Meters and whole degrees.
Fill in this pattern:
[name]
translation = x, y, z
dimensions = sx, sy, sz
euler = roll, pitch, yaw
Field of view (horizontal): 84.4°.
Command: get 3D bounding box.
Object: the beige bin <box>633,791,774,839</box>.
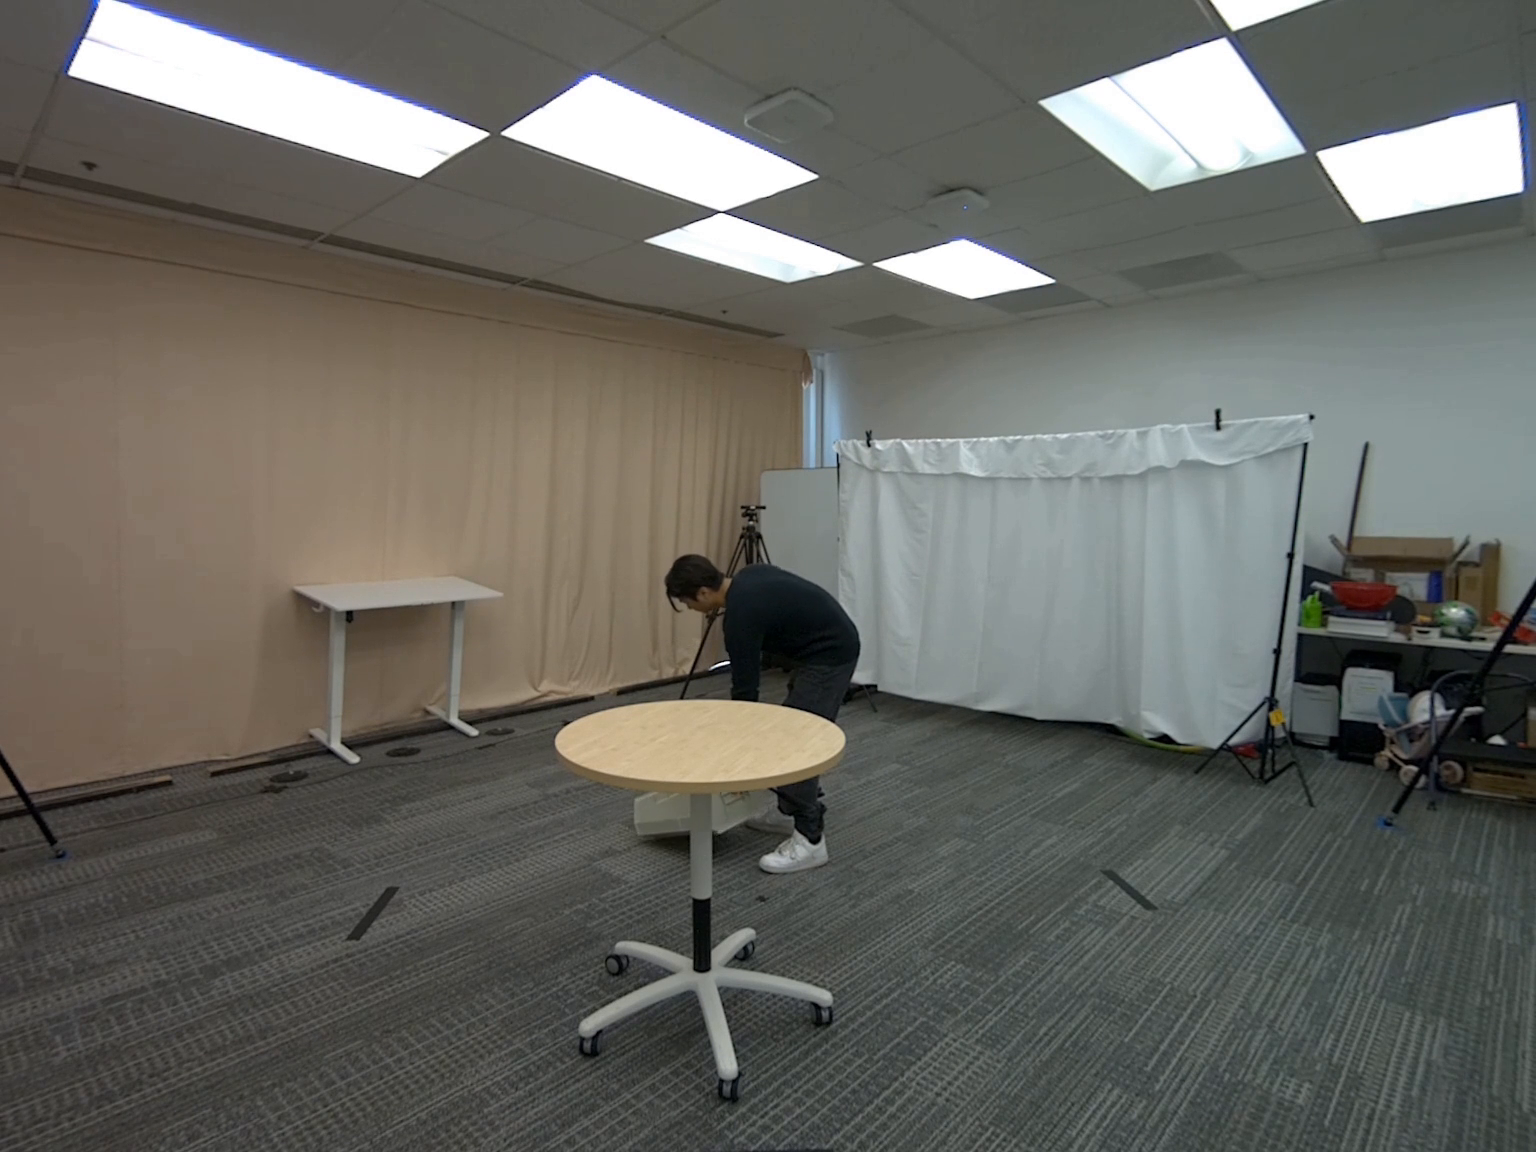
[beige bin]
translation = -0.281, 0.943, 3.481
dimensions = 0.432, 0.190, 0.366
euler = -19, -8, 37
